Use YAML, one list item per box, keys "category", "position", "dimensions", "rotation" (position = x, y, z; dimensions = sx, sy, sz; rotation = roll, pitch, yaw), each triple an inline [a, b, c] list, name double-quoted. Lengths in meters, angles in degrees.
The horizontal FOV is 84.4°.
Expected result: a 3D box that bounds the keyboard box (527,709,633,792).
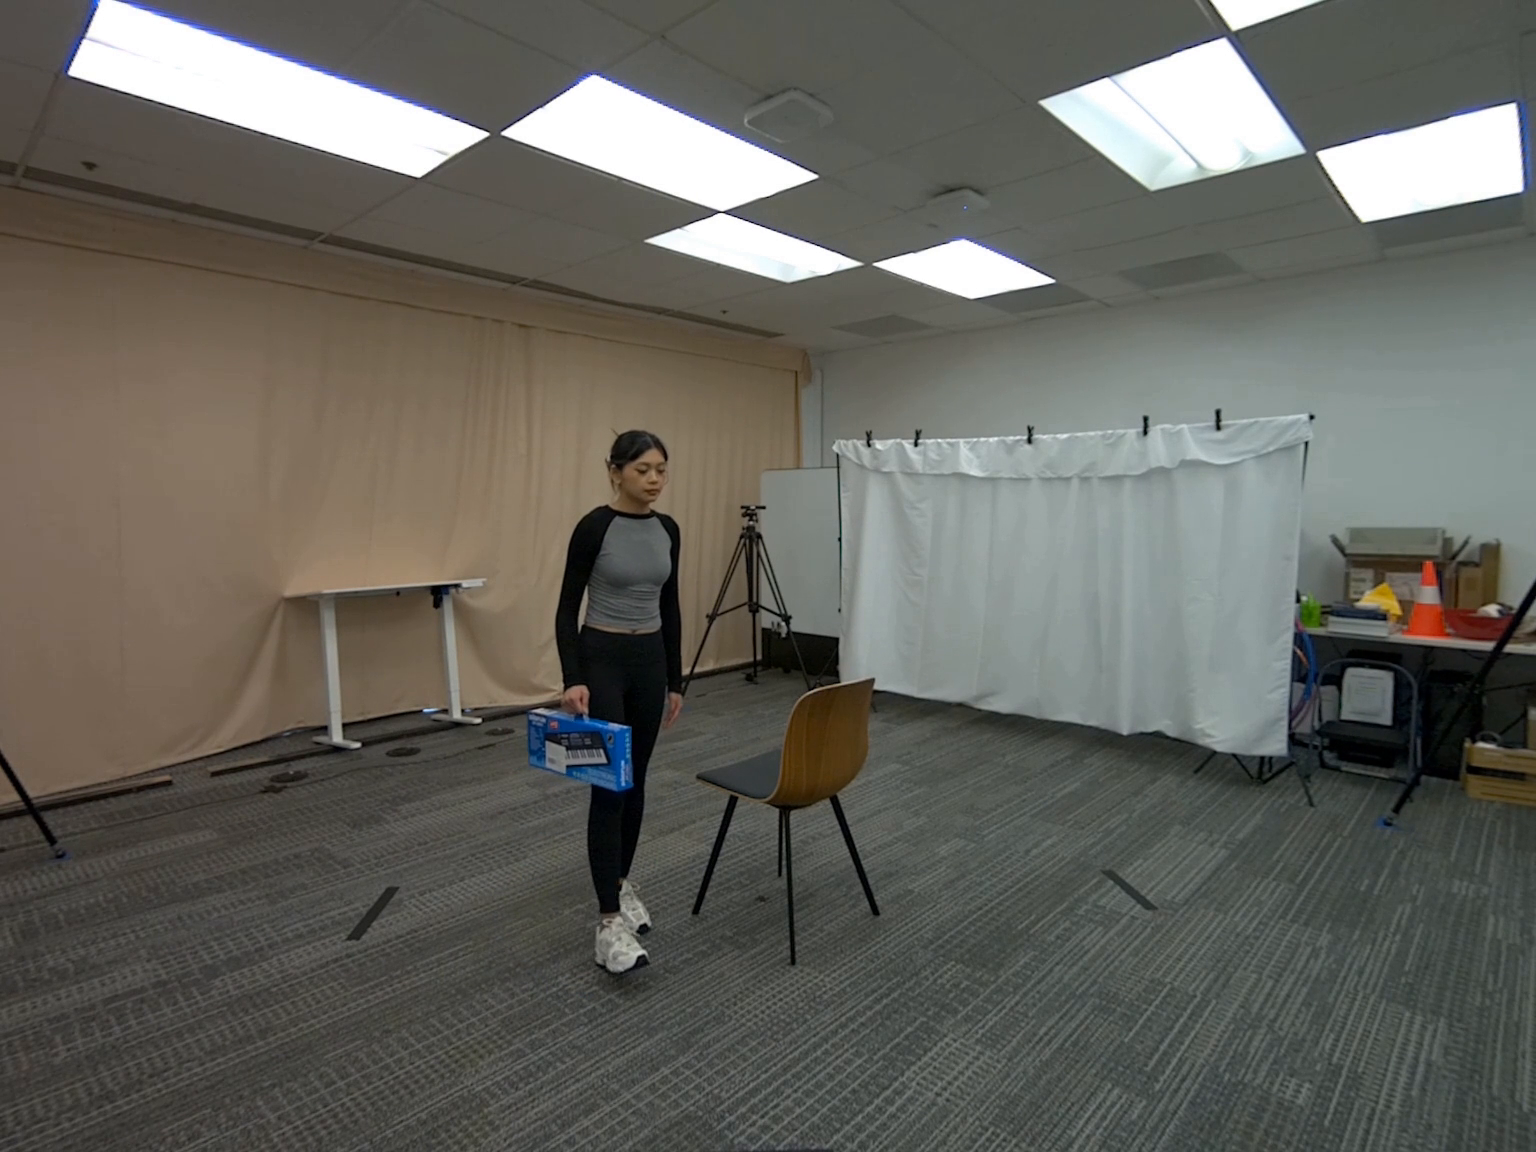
- category: "keyboard box"
  position: [-0.564, 0.512, 2.519]
  dimensions: [0.451, 0.176, 0.057]
  rotation: [1, 3, 42]
